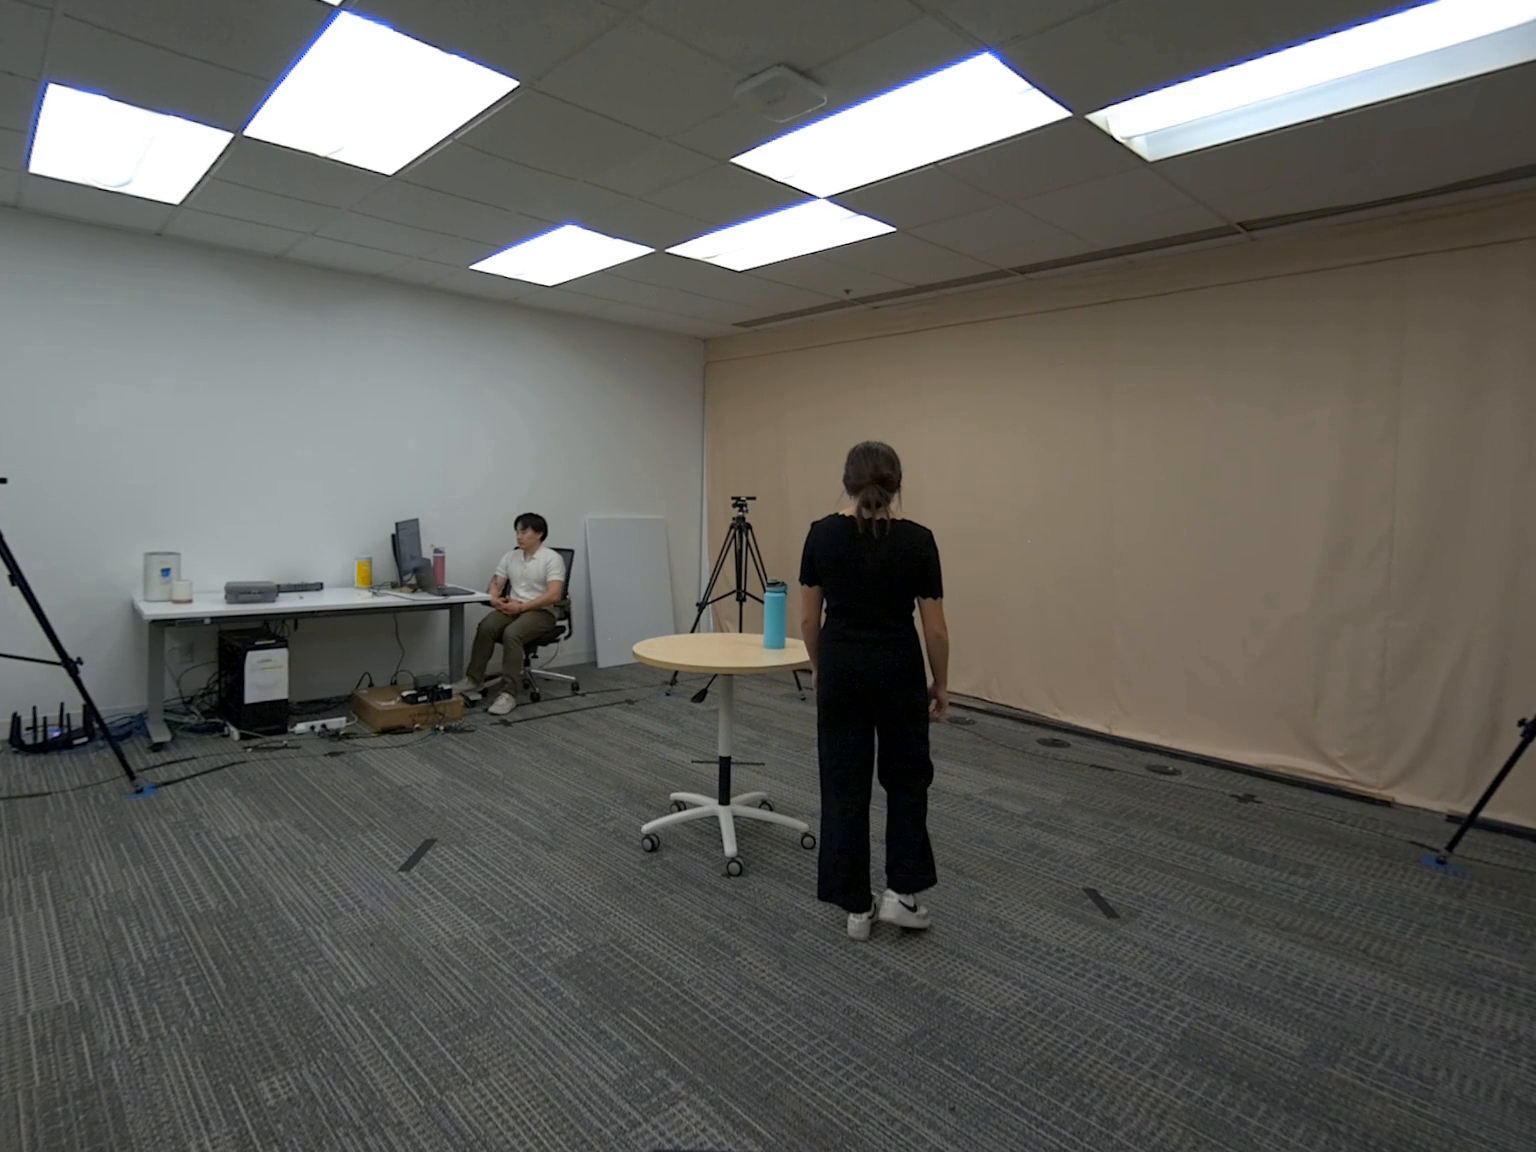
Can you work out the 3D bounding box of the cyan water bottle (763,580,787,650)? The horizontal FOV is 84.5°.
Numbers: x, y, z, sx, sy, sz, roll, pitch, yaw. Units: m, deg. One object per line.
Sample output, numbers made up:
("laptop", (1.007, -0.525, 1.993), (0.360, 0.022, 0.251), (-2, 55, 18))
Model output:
("cyan water bottle", (0.024, 0.153, 3.451), (0.092, 0.282, 0.093), (3, 5, -2))
